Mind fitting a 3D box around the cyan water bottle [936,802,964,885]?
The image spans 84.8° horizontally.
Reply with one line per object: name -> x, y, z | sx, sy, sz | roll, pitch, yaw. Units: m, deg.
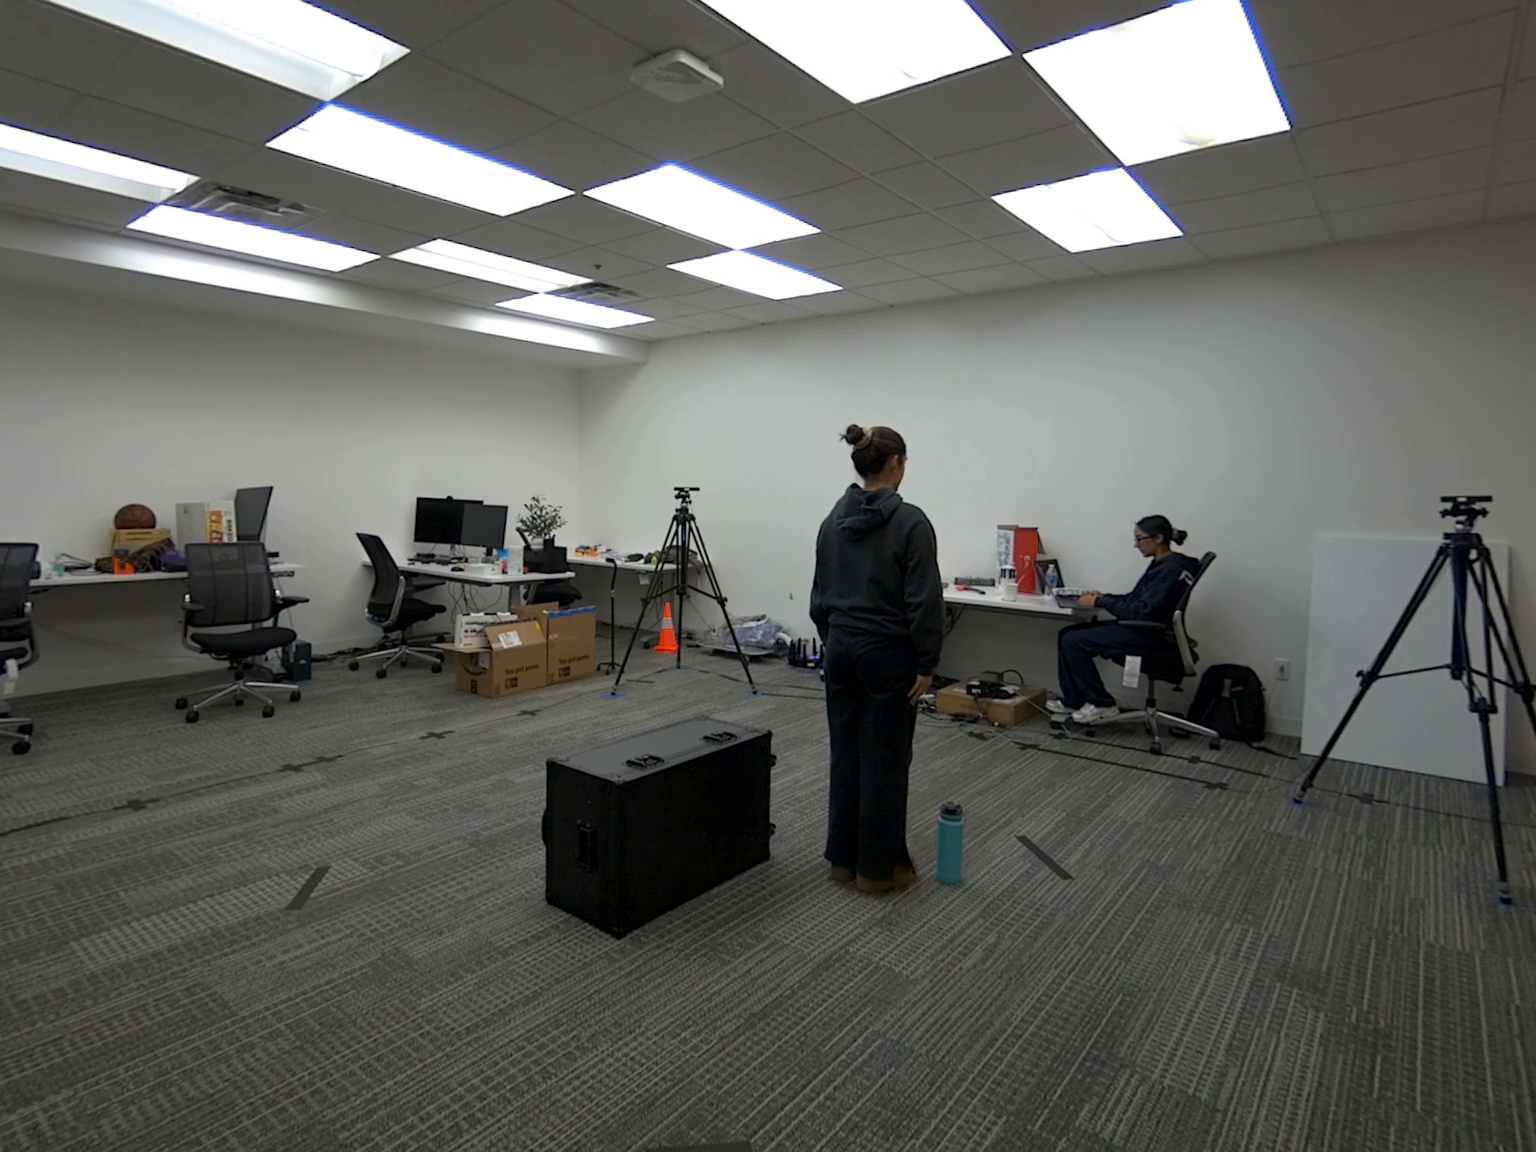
cyan water bottle -> 0.662, 0.950, 3.063 | 0.092, 0.282, 0.093 | 2, 4, -2
